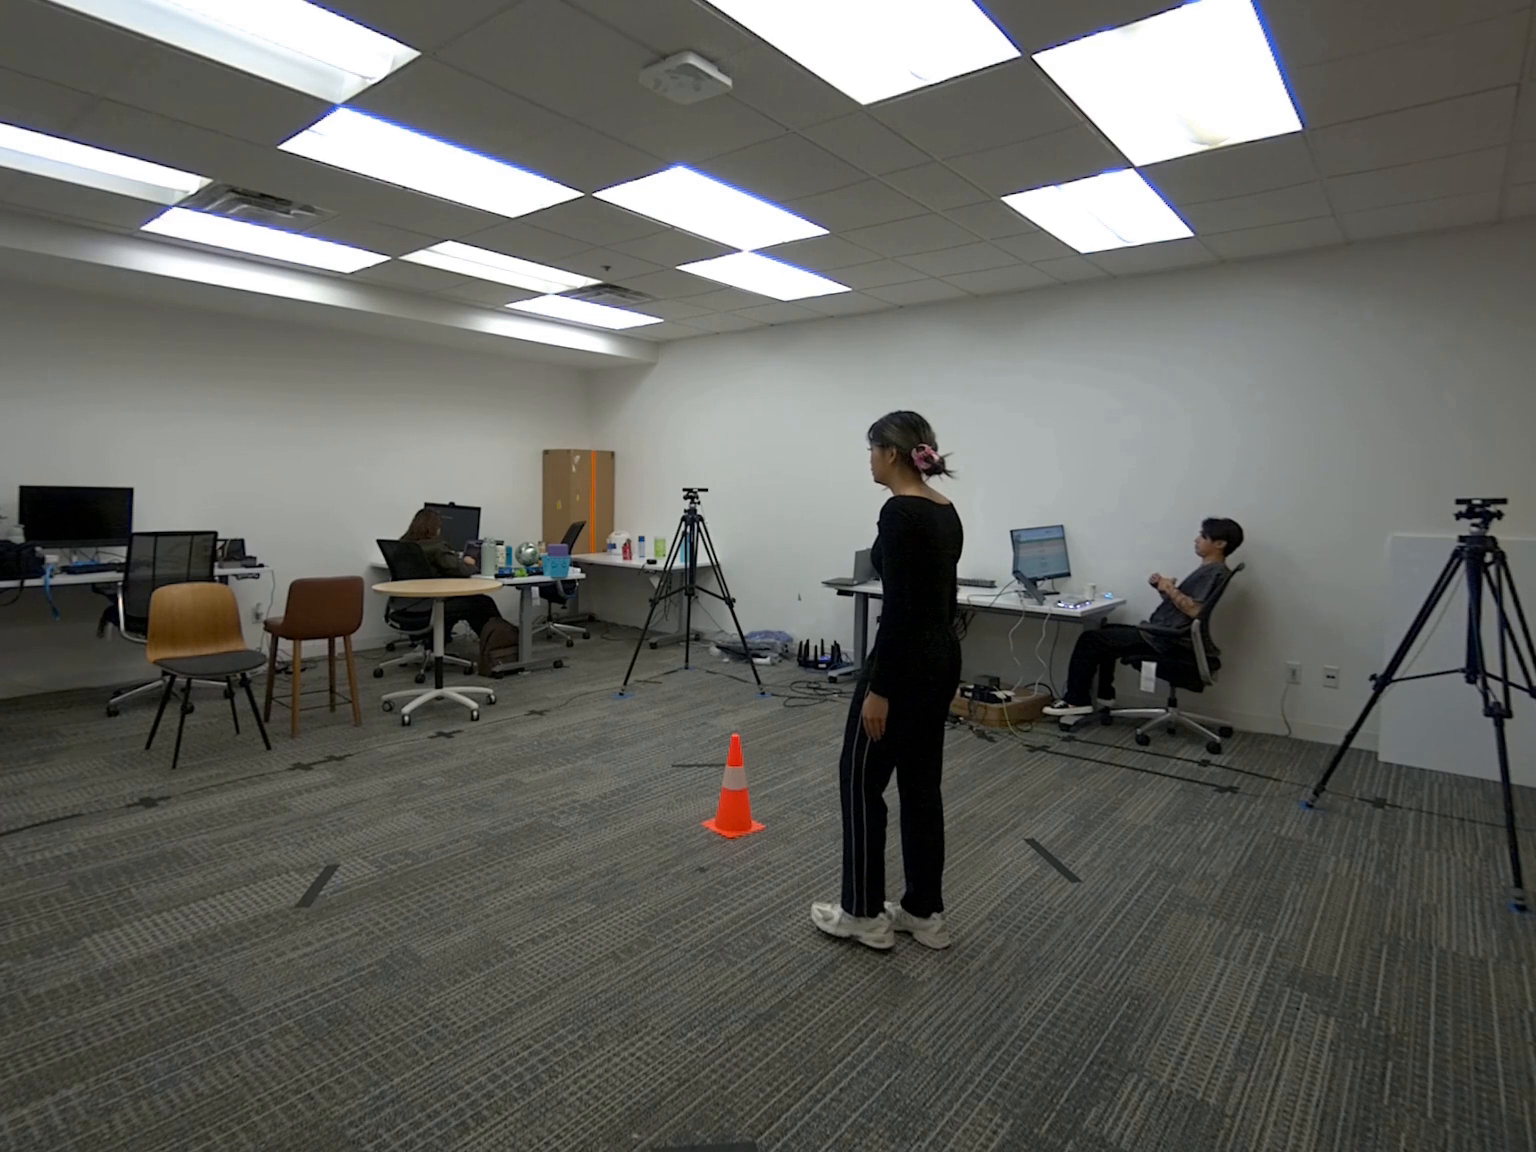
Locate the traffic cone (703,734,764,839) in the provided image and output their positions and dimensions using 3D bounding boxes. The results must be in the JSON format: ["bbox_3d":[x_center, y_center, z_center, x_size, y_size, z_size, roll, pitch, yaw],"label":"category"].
[{"bbox_3d":[-0.155,0.845,3.519,0.199,0.382,0.210,-2,4,-40],"label":"traffic cone"}]
